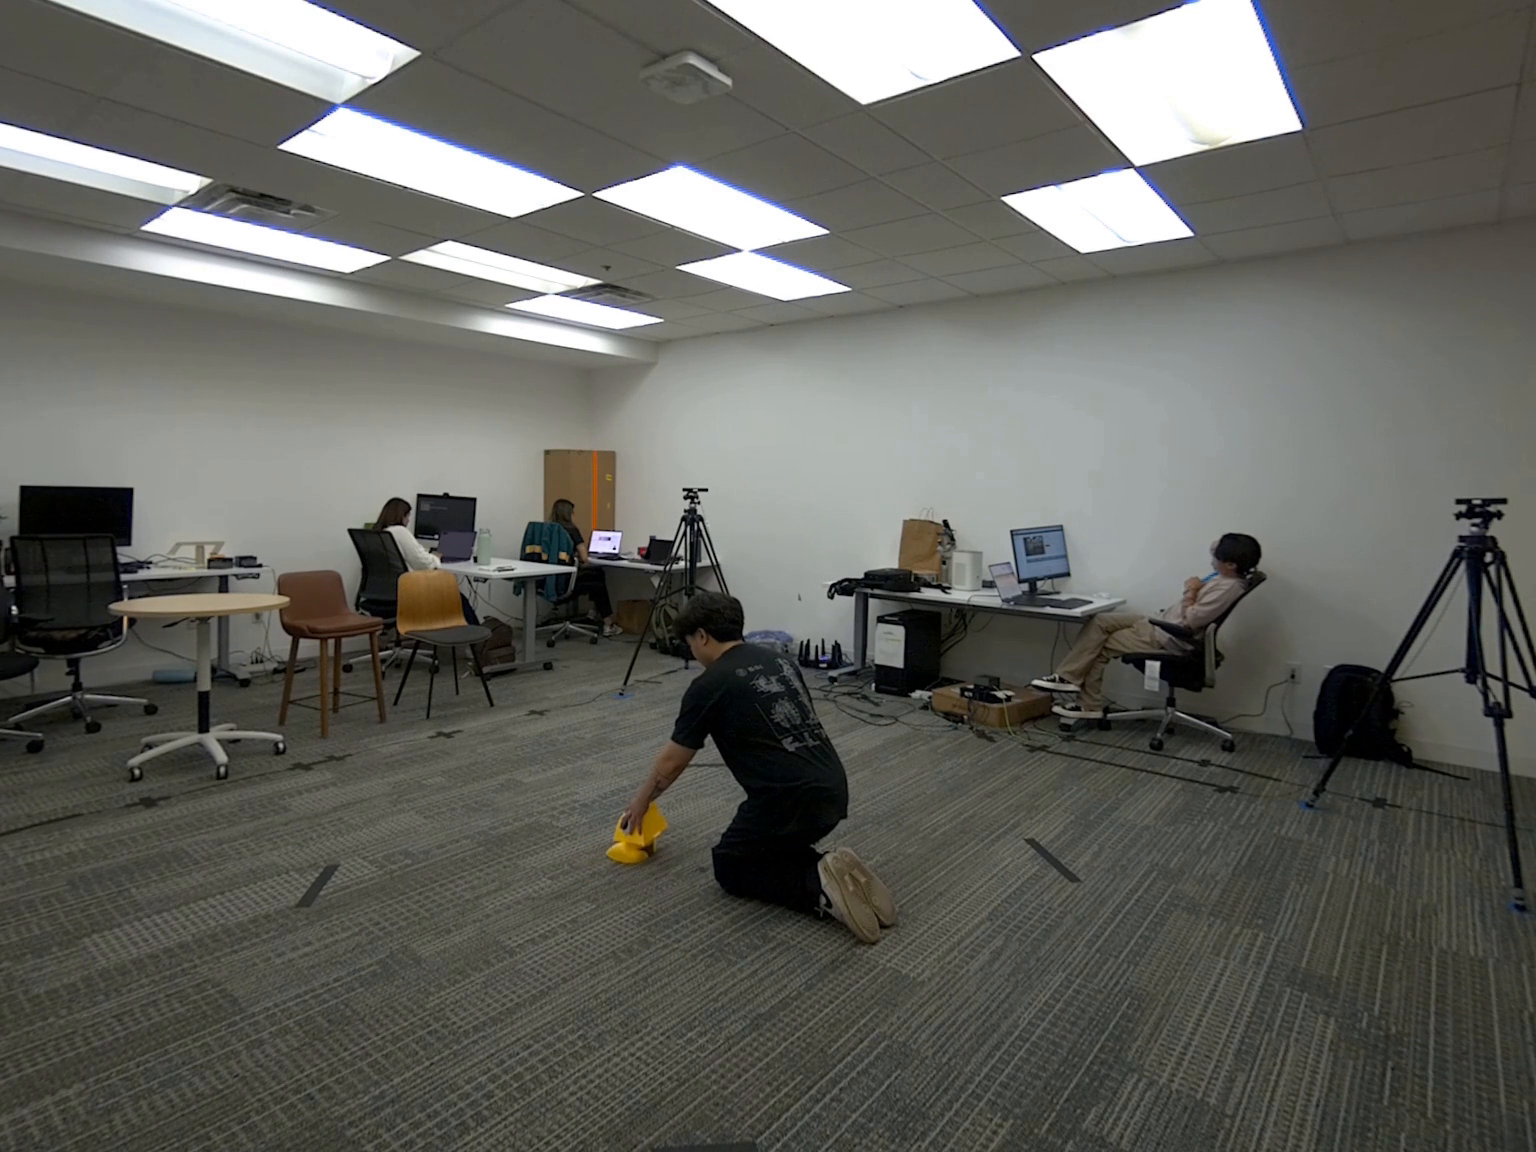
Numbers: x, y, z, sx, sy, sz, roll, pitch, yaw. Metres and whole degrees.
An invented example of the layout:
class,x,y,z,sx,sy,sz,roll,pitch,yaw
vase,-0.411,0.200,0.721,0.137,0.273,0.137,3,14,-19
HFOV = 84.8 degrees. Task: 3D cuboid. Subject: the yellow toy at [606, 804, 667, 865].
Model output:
class,x,y,z,sx,sy,sz,roll,pitch,yaw
yellow toy,-0.515,0.939,3.245,0.198,0.230,0.201,3,4,22
